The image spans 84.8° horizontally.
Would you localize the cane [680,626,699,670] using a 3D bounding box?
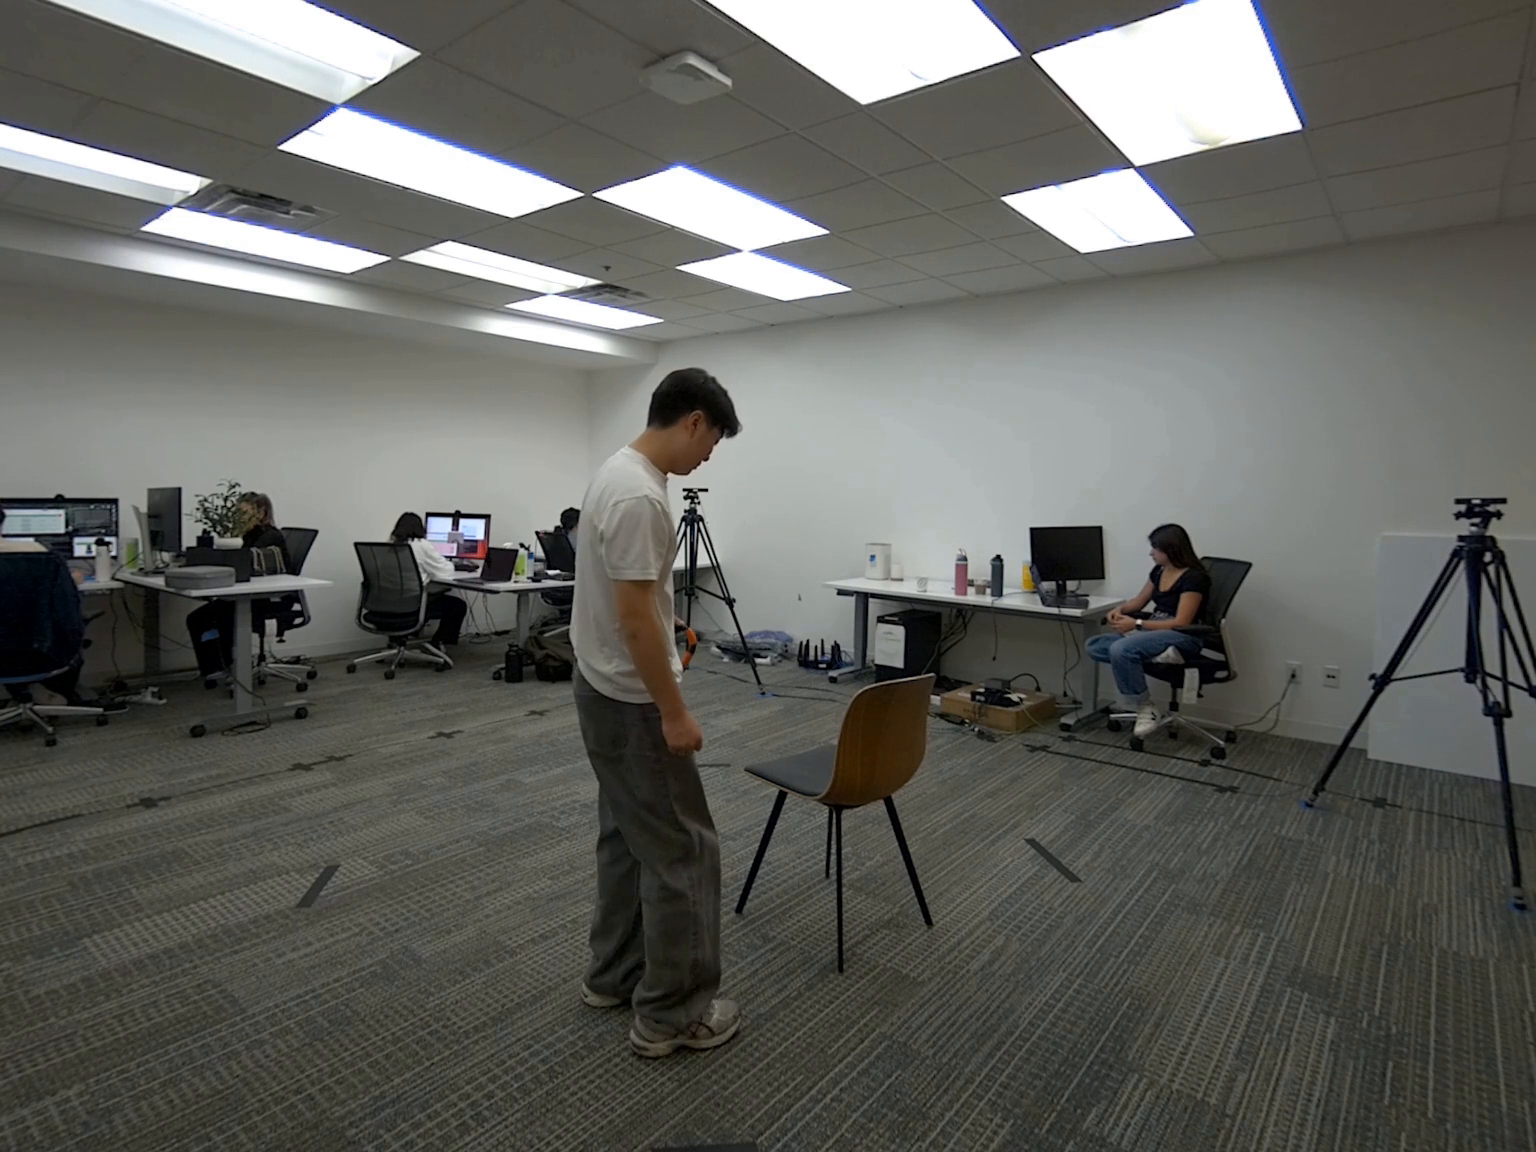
[{"bbox_3d":[-0.320,0.586,2.623,0.209,0.905,0.150,6,3,12],"label":"cane"}]
